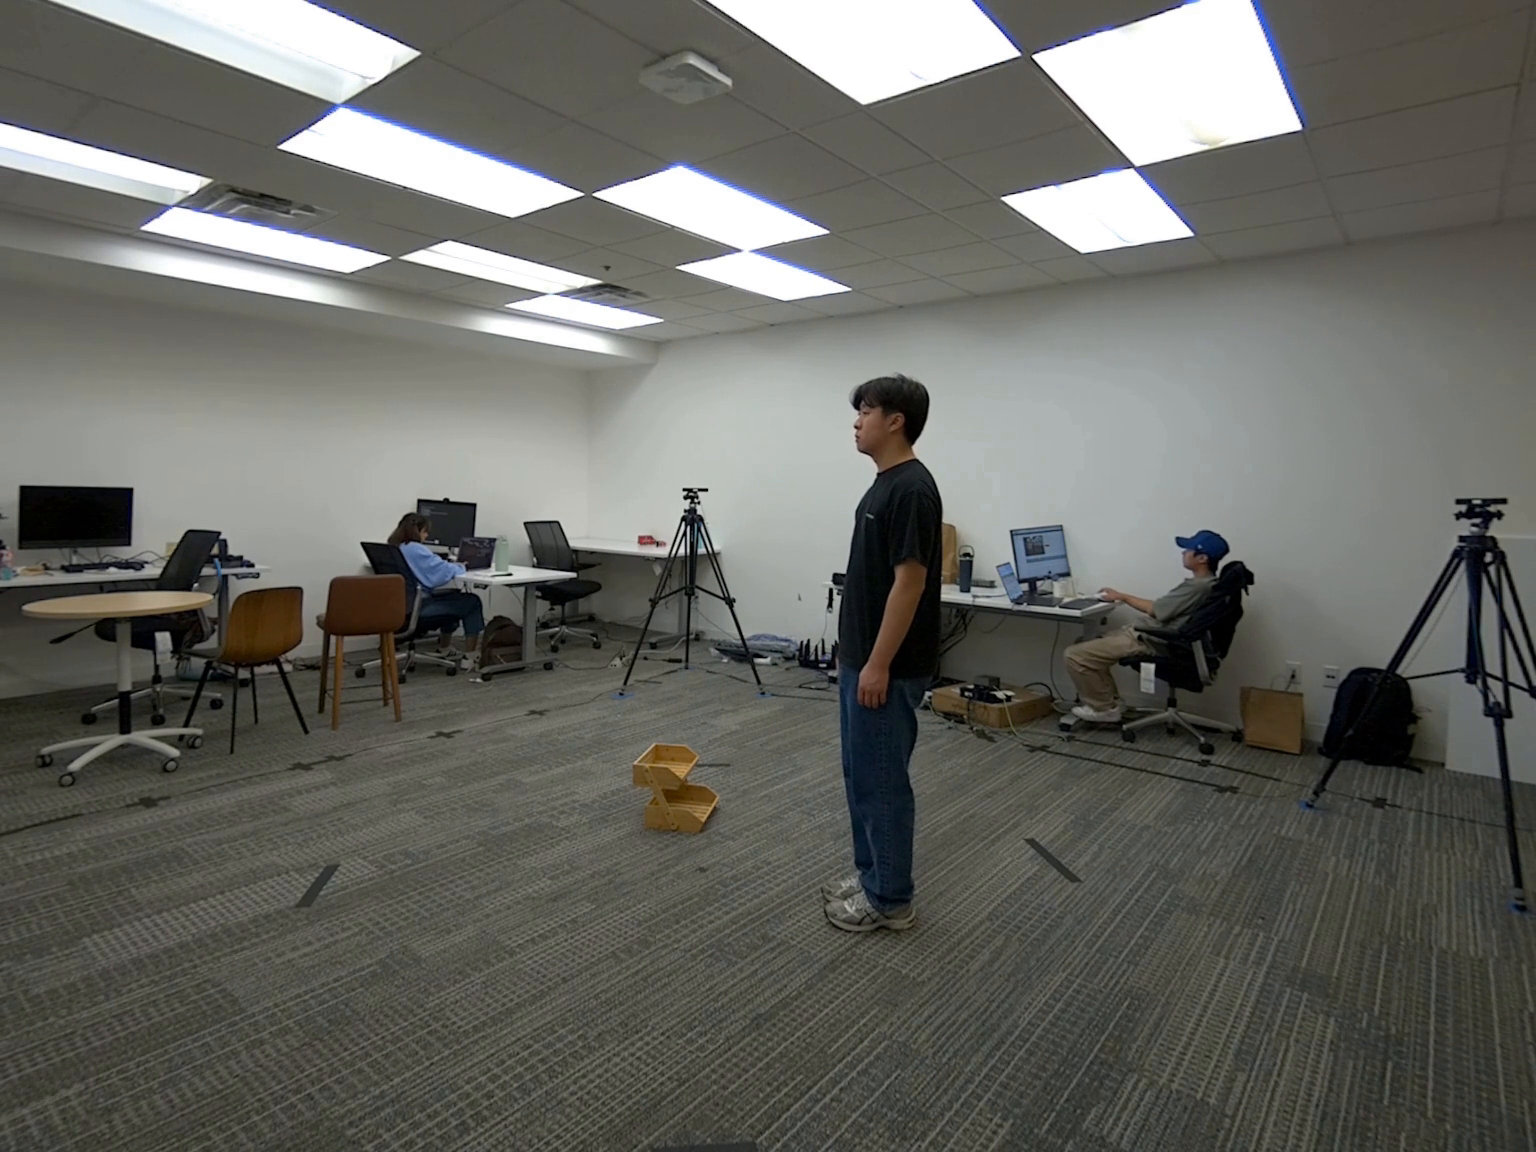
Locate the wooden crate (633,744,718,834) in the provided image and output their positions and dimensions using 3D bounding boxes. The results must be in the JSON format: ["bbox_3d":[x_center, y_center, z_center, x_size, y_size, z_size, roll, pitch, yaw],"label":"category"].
[{"bbox_3d":[-0.390,0.883,3.608,0.306,0.272,0.321,1,4,10],"label":"wooden crate"}]
